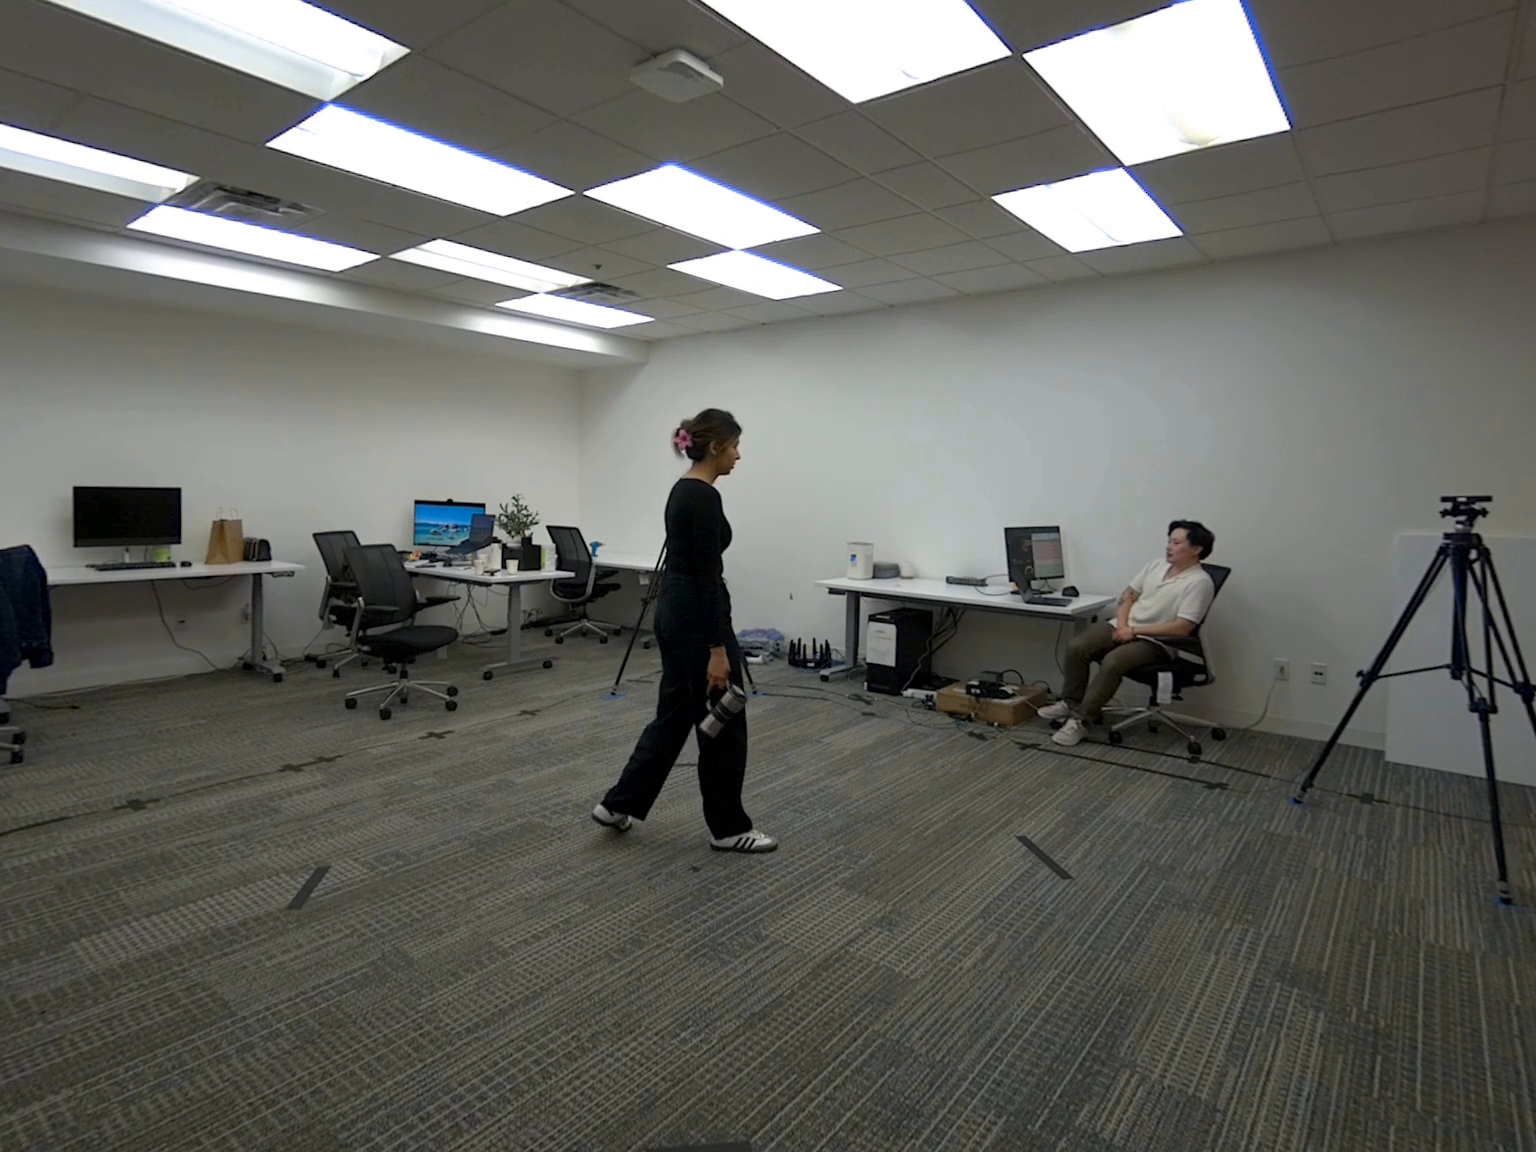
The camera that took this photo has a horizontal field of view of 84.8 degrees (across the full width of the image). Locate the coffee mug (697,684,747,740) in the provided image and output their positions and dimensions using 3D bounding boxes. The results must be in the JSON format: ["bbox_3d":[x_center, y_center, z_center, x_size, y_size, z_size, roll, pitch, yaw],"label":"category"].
[{"bbox_3d":[-0.185,0.484,3.085,0.084,0.202,0.127,24,16,-50],"label":"coffee mug"}]
